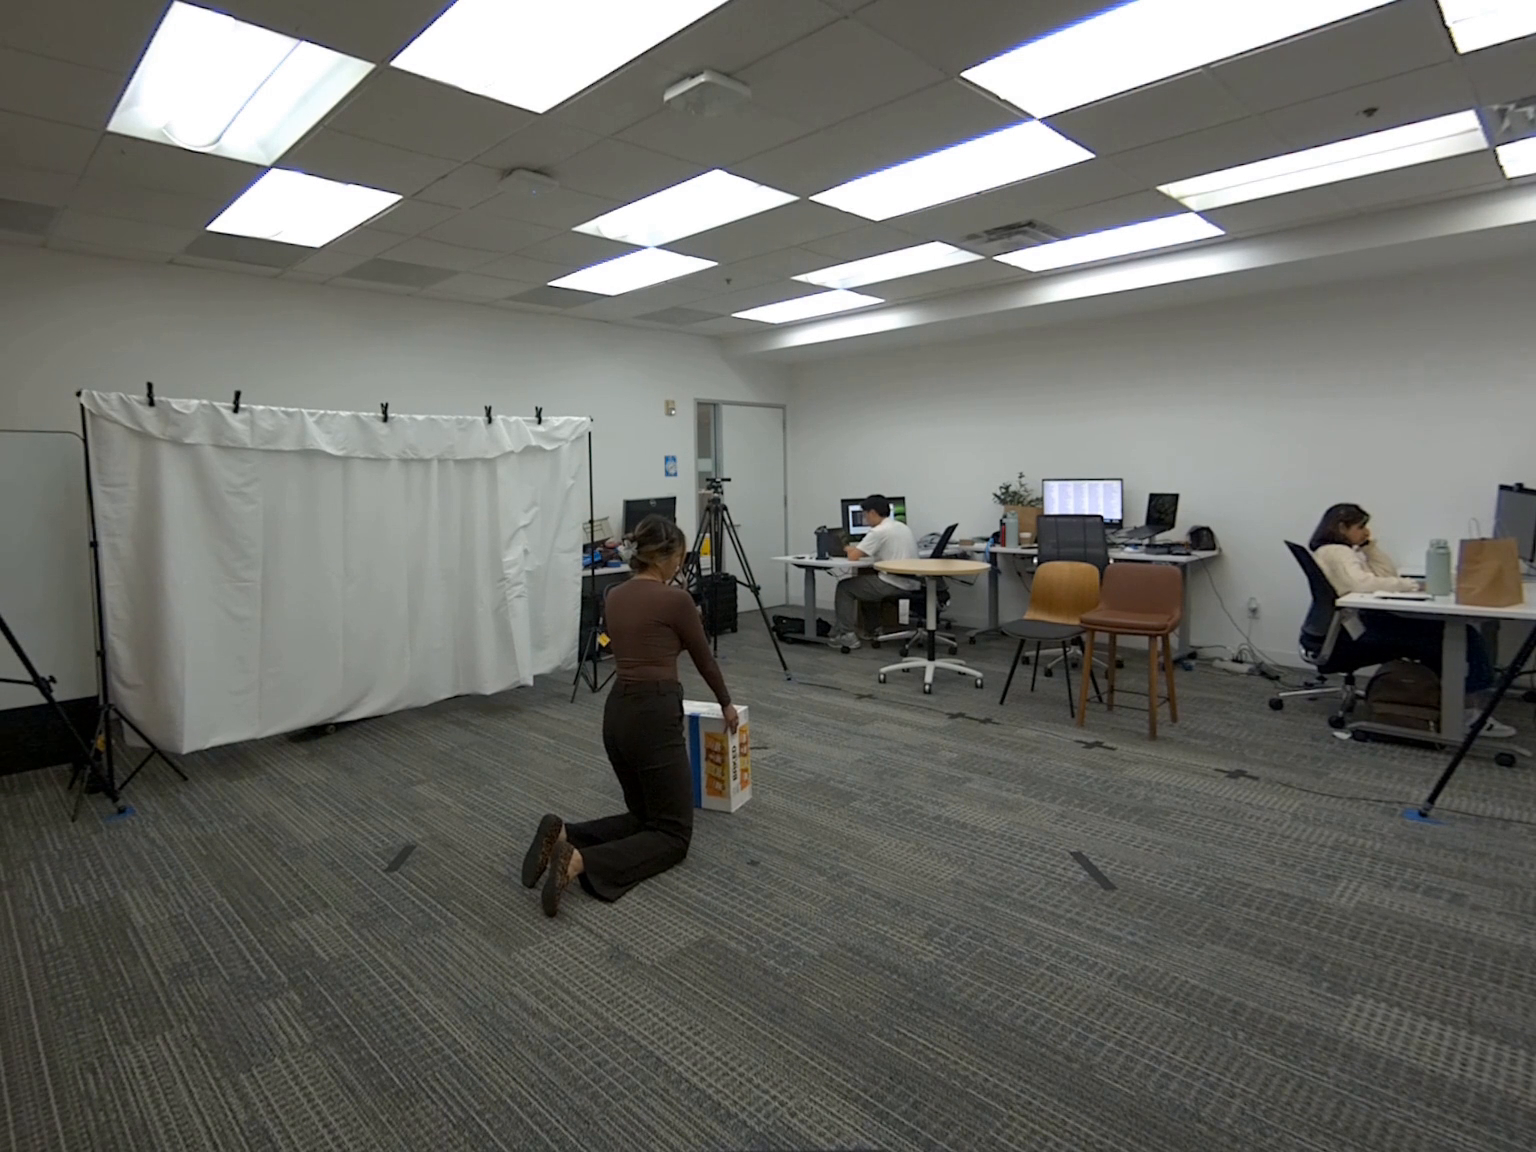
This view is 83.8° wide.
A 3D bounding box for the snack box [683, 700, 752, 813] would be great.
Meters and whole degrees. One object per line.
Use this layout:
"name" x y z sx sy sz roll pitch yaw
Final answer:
"snack box" -0.273 0.773 3.717 0.348 0.404 0.202 1 5 26
